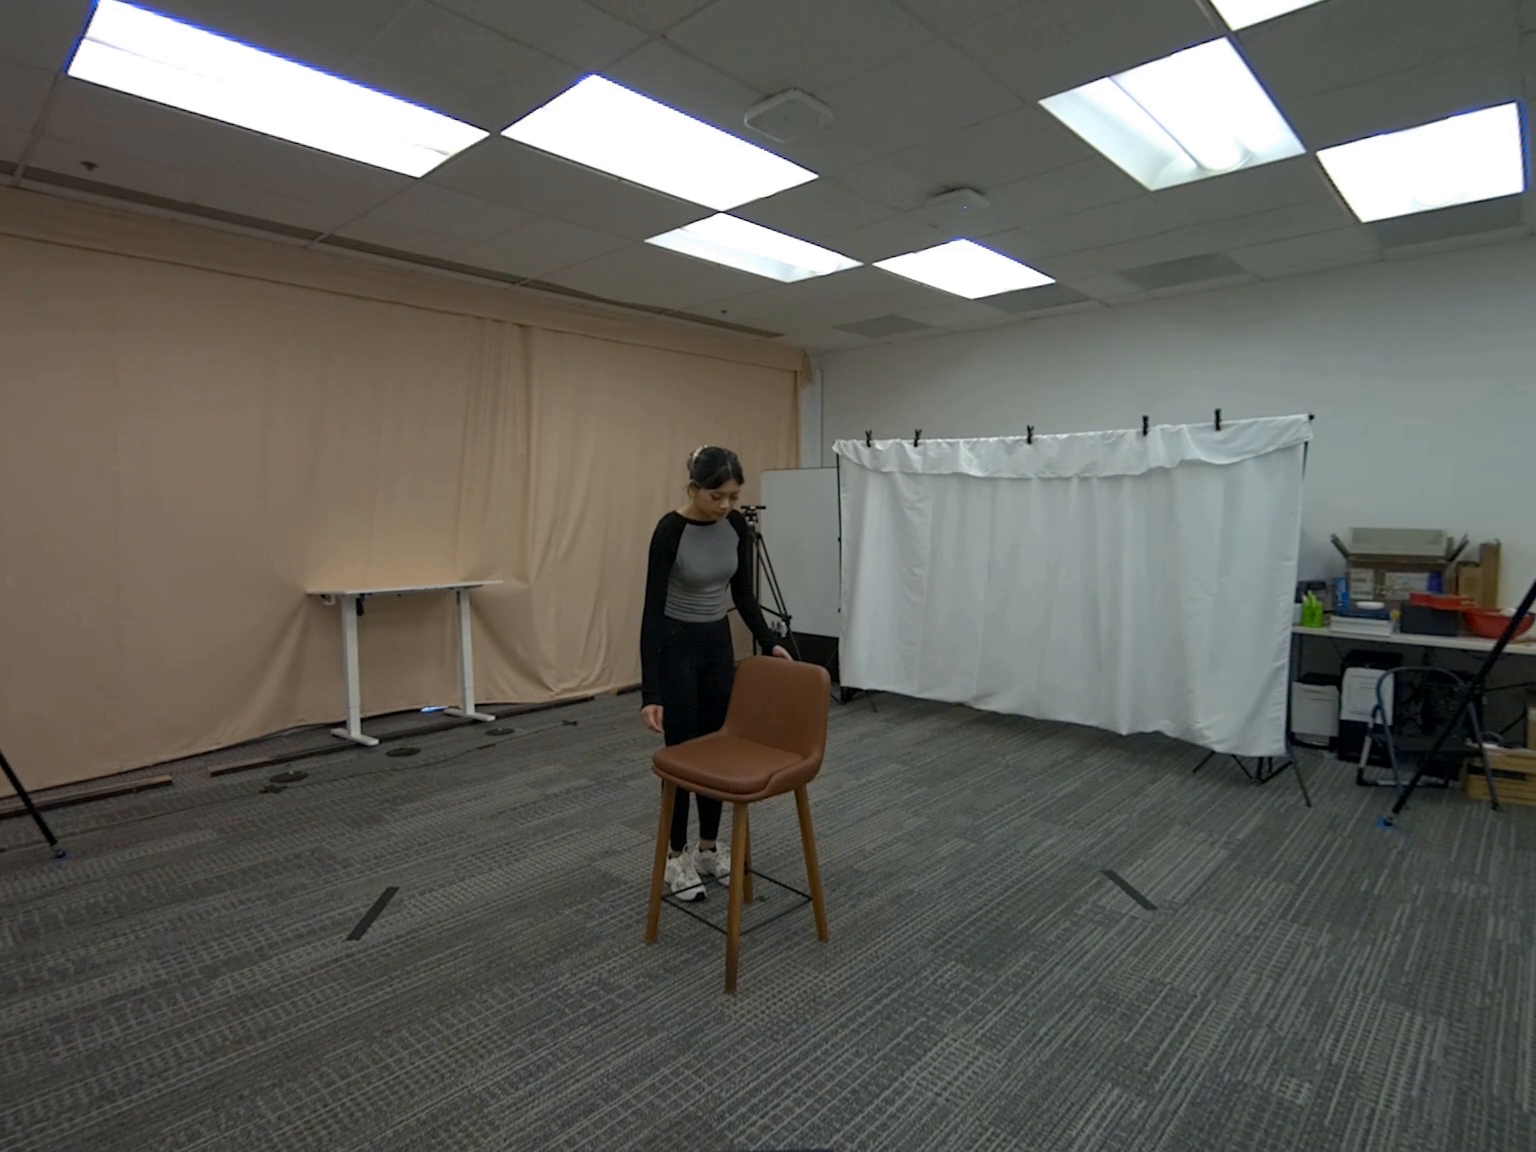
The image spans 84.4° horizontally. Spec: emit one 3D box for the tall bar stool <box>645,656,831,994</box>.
[{"bbox_3d":[-0.079,0.735,2.670,0.453,0.889,0.472,0,2,-44],"label":"tall bar stool"}]
